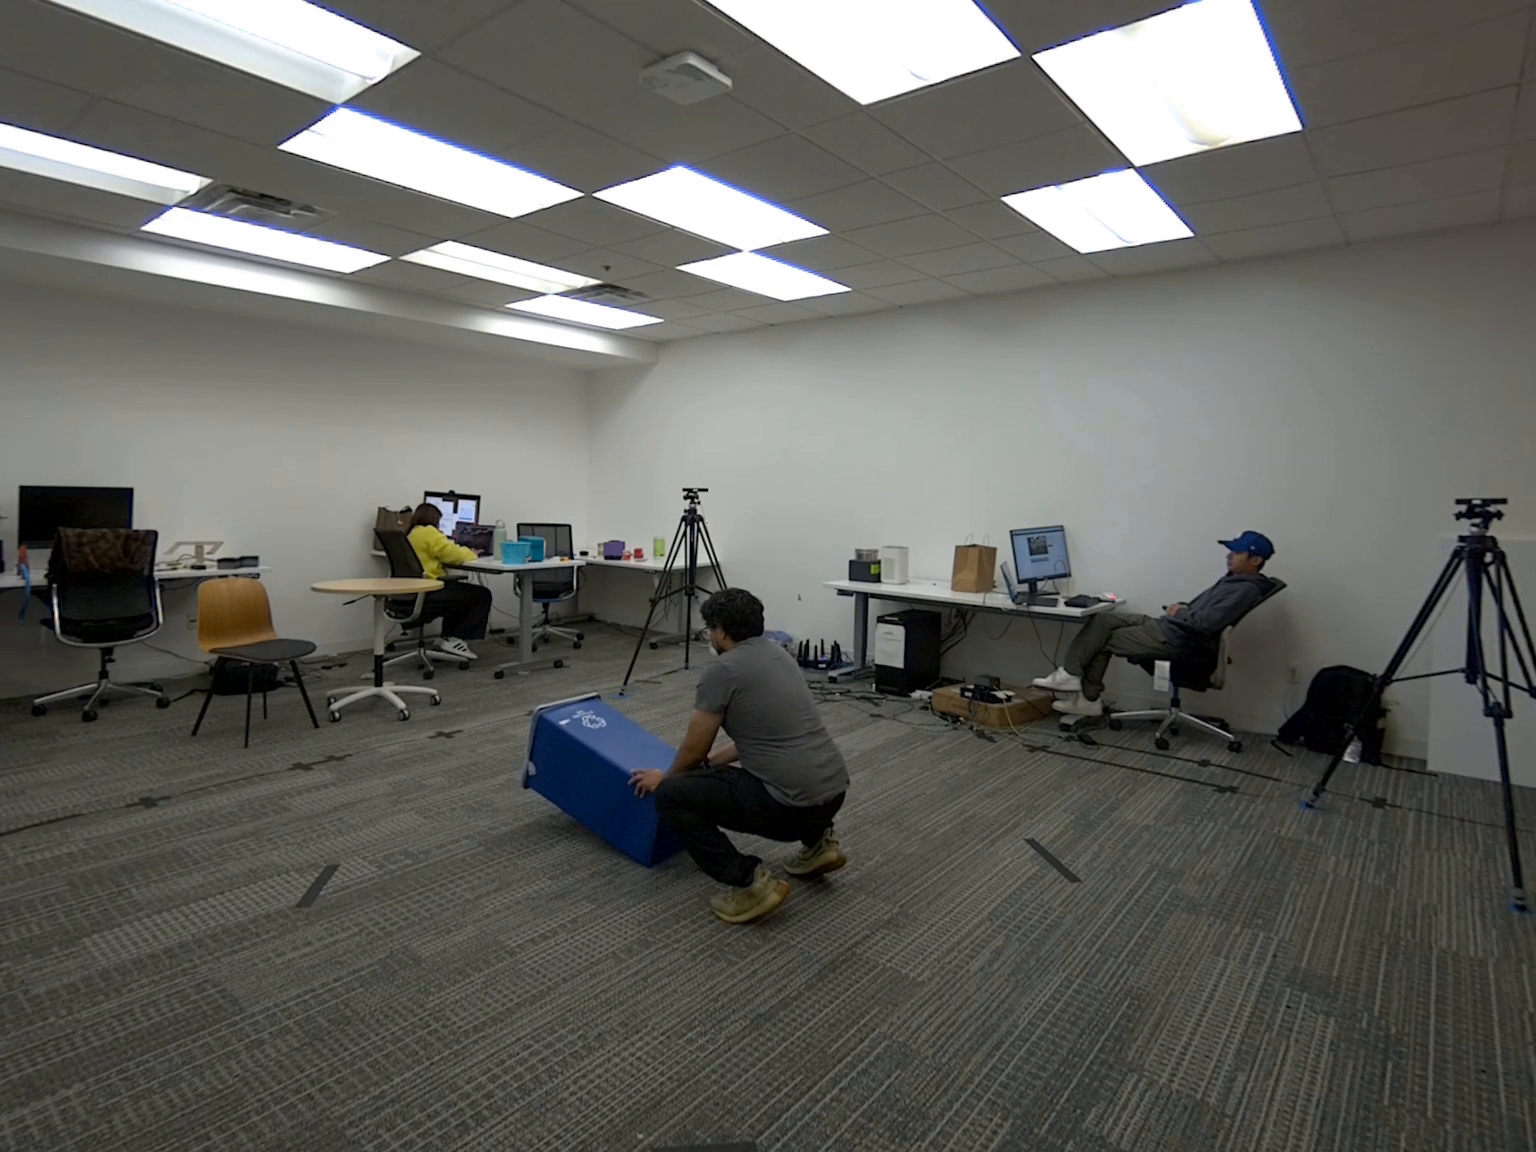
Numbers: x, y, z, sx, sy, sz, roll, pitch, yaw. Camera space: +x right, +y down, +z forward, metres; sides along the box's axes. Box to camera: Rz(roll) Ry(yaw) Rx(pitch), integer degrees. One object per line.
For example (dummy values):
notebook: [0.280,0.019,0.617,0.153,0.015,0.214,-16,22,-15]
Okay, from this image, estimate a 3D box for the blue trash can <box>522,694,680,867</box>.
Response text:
blue trash can: [-0.616,0.806,3.404,0.740,0.375,0.363,22,15,33]
